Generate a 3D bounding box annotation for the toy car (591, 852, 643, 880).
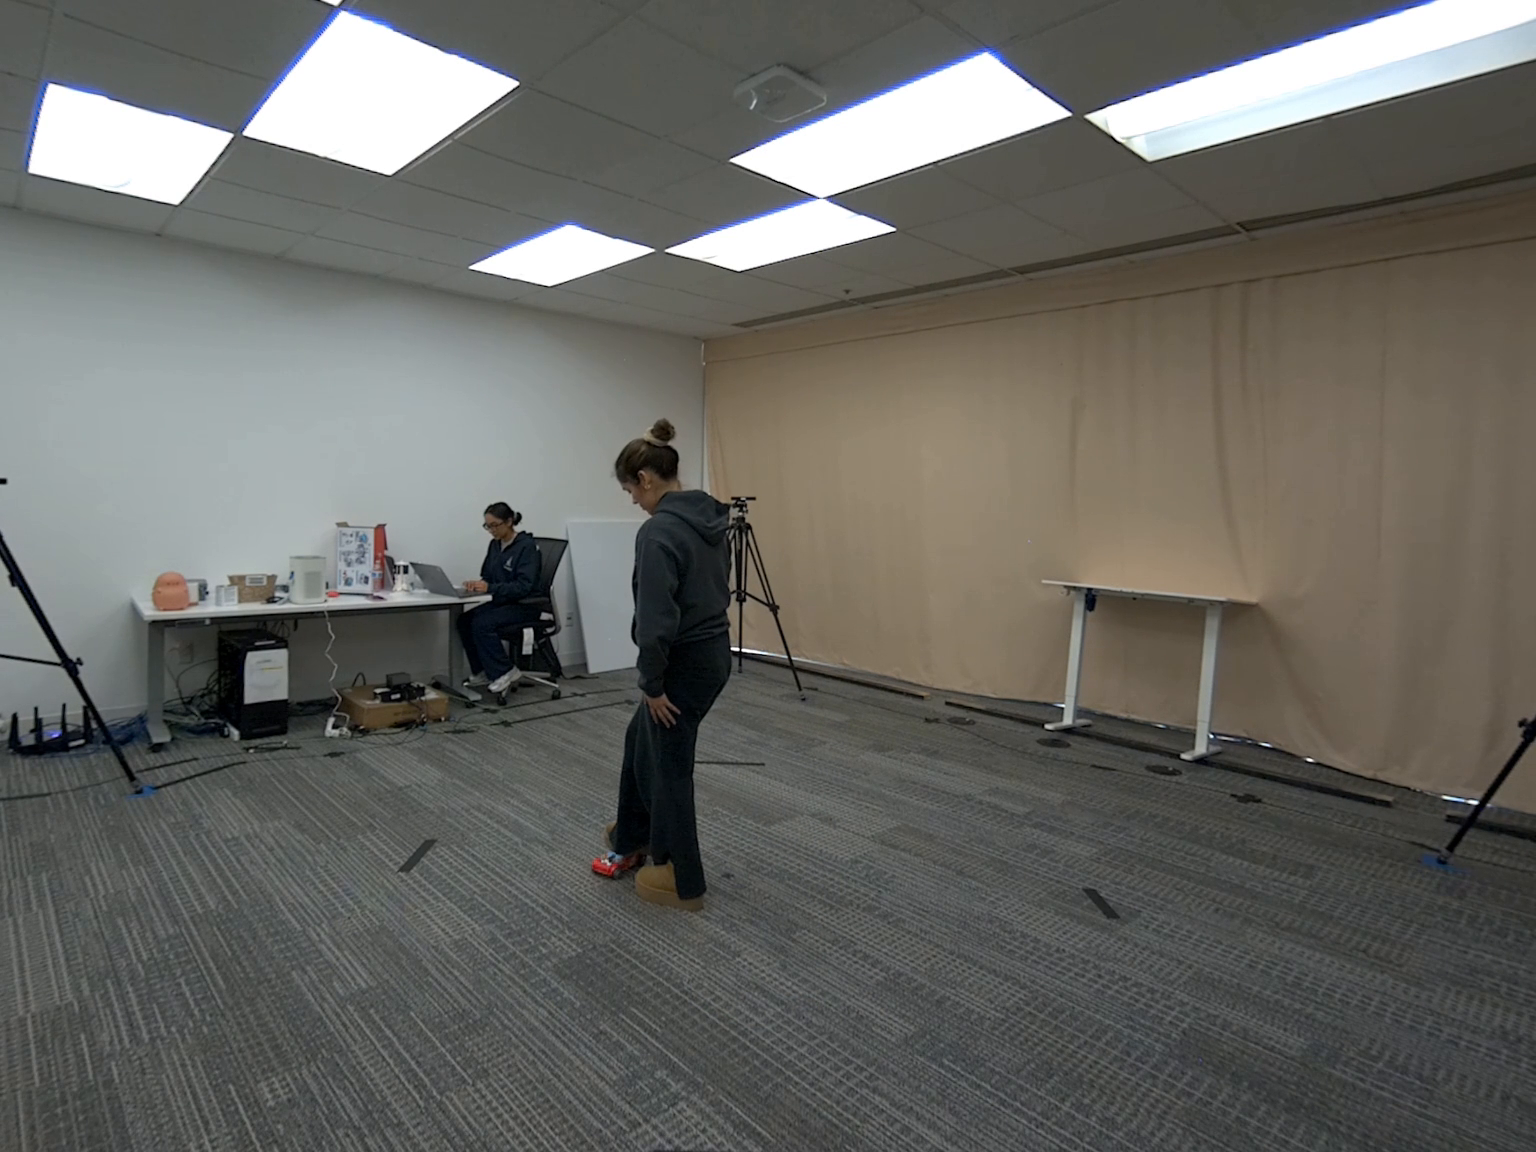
[{"bbox_3d":[-0.551,1.060,3.173,0.133,0.082,0.251,4,17,33],"label":"toy car"}]
